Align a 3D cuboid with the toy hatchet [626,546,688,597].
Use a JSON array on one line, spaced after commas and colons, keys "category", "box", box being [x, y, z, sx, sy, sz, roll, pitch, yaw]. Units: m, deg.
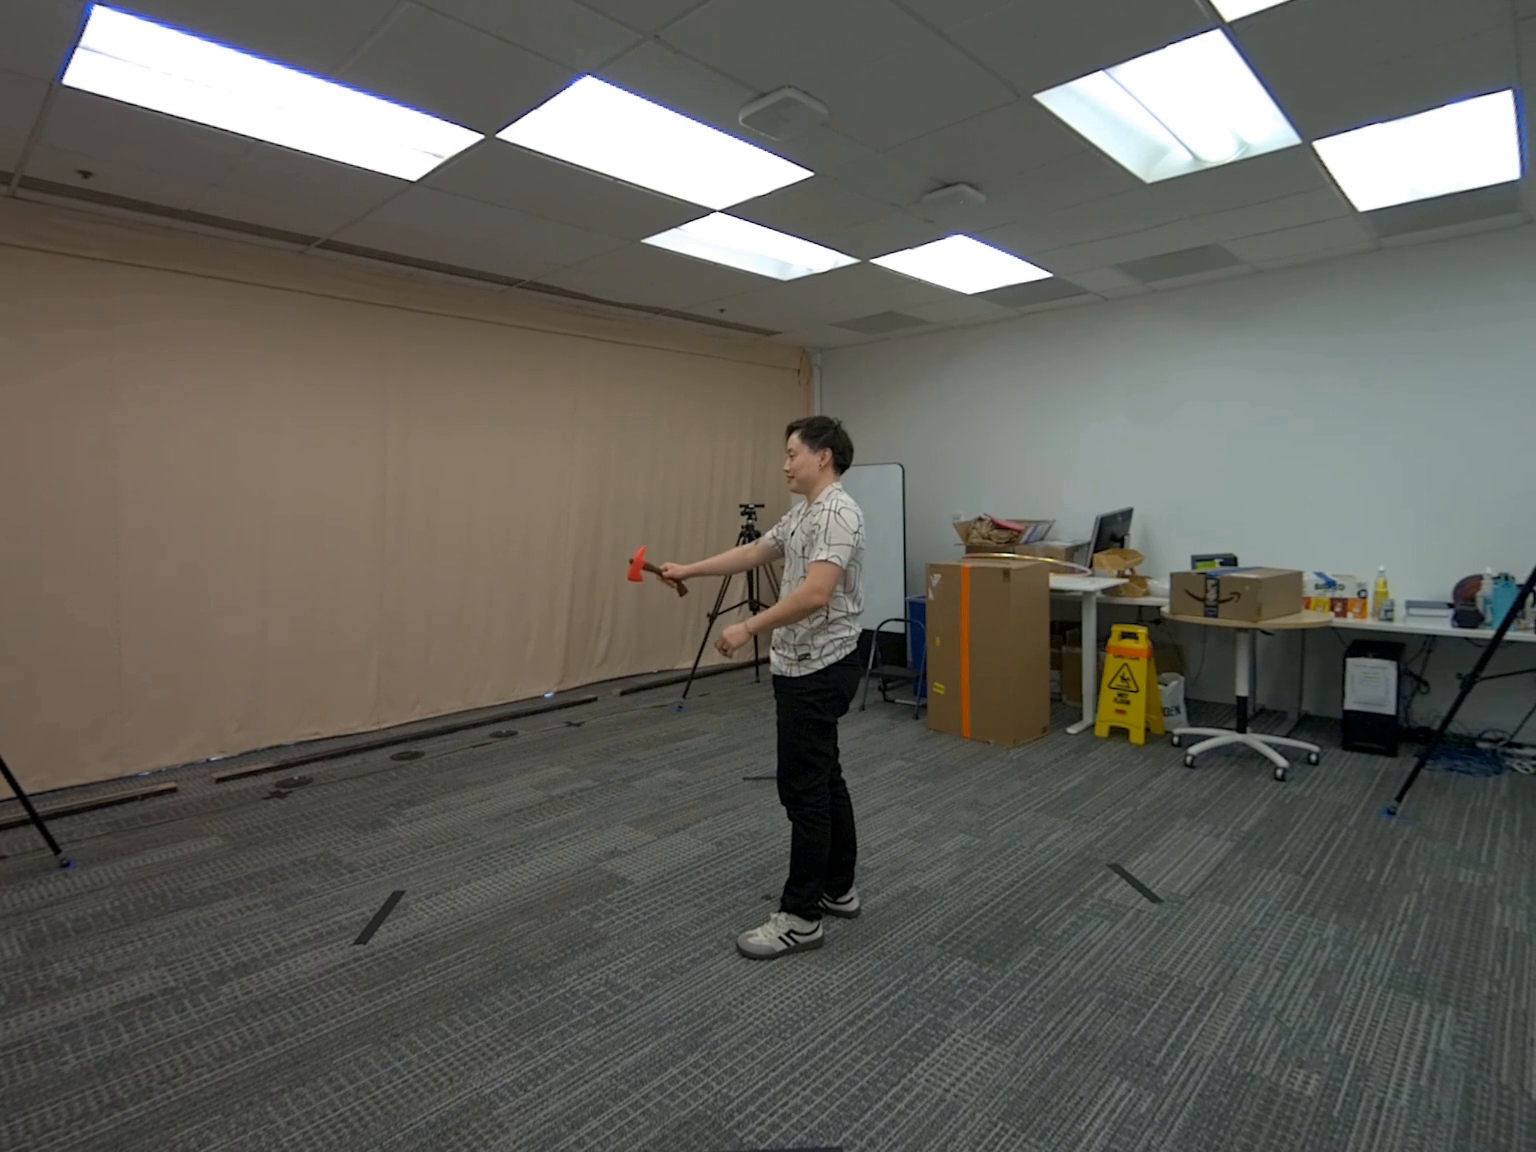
[{"category": "toy hatchet", "box": [-0.396, 0.023, 3.014, 0.262, 0.131, 0.030, 45, -9, -30]}]
